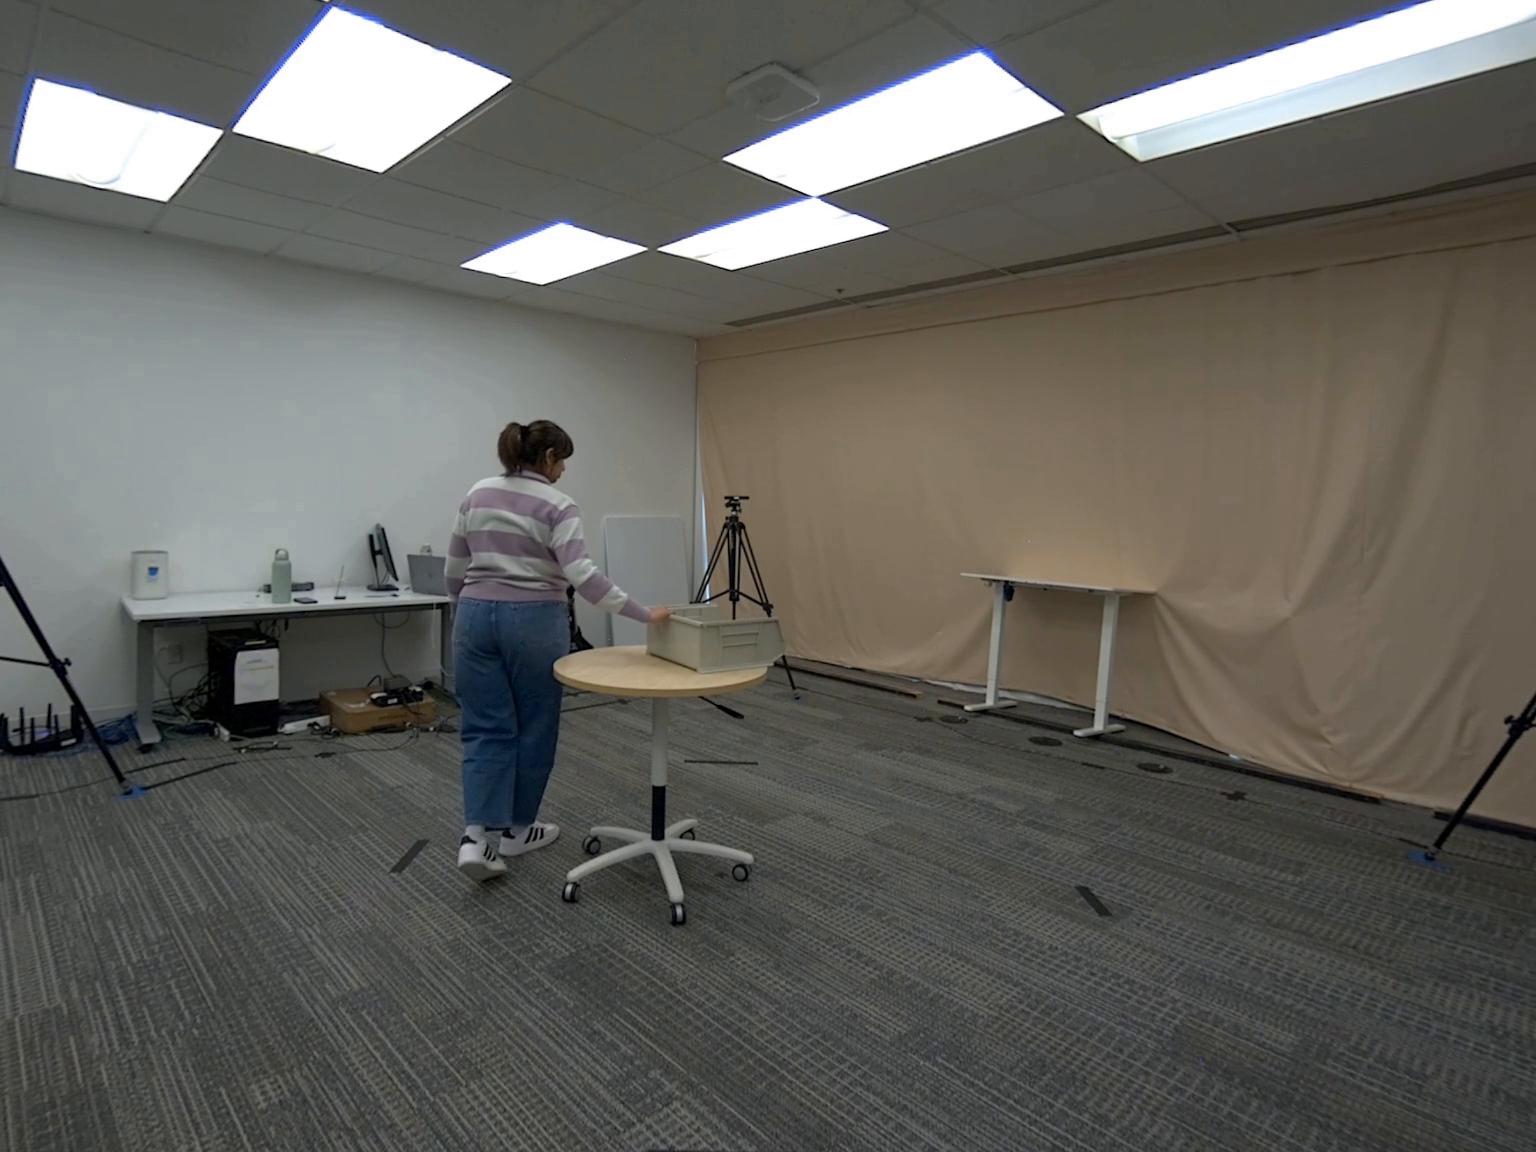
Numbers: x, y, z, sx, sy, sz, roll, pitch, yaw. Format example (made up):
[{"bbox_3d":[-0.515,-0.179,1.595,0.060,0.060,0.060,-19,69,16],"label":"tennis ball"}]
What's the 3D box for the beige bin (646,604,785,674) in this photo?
[{"bbox_3d":[-0.213,0.226,3.154,0.369,0.188,0.433,-3,7,-35],"label":"beige bin"}]
